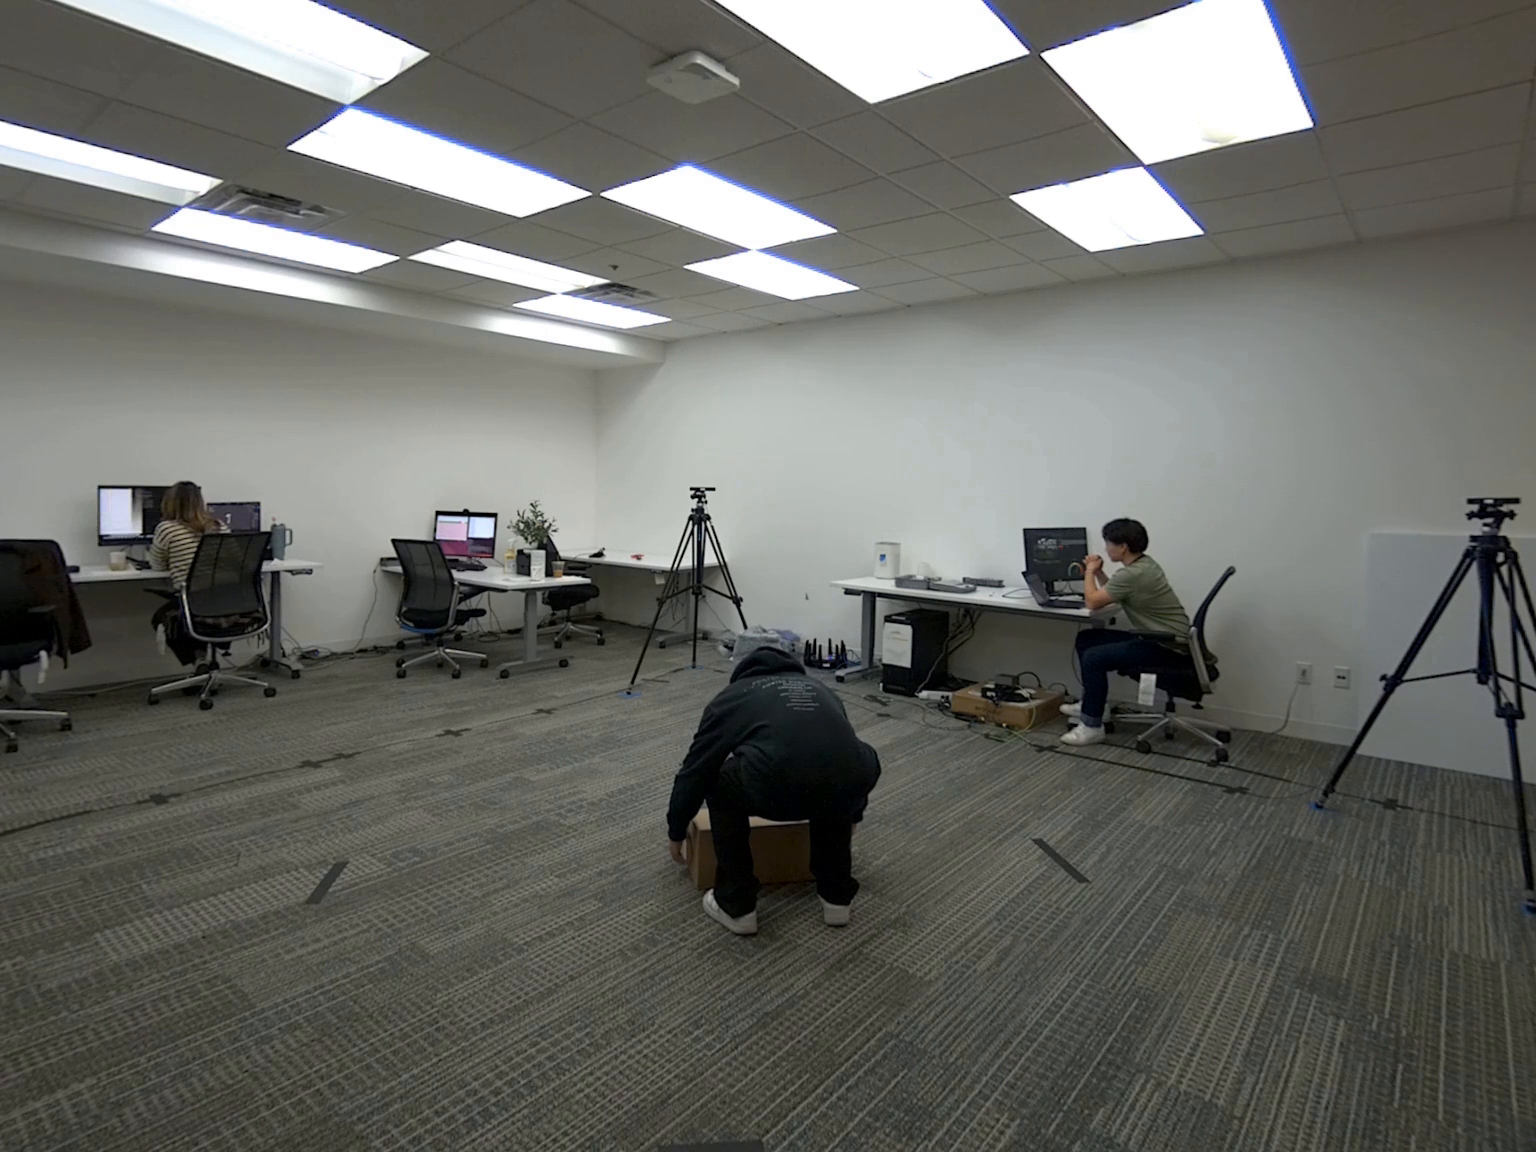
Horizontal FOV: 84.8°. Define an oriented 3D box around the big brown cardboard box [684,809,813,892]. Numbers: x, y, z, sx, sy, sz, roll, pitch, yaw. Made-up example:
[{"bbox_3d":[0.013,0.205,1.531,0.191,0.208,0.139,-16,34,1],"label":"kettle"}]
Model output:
[{"bbox_3d":[-0.040,0.951,3.189,0.580,0.232,0.426,1,6,-14],"label":"big brown cardboard box"}]
